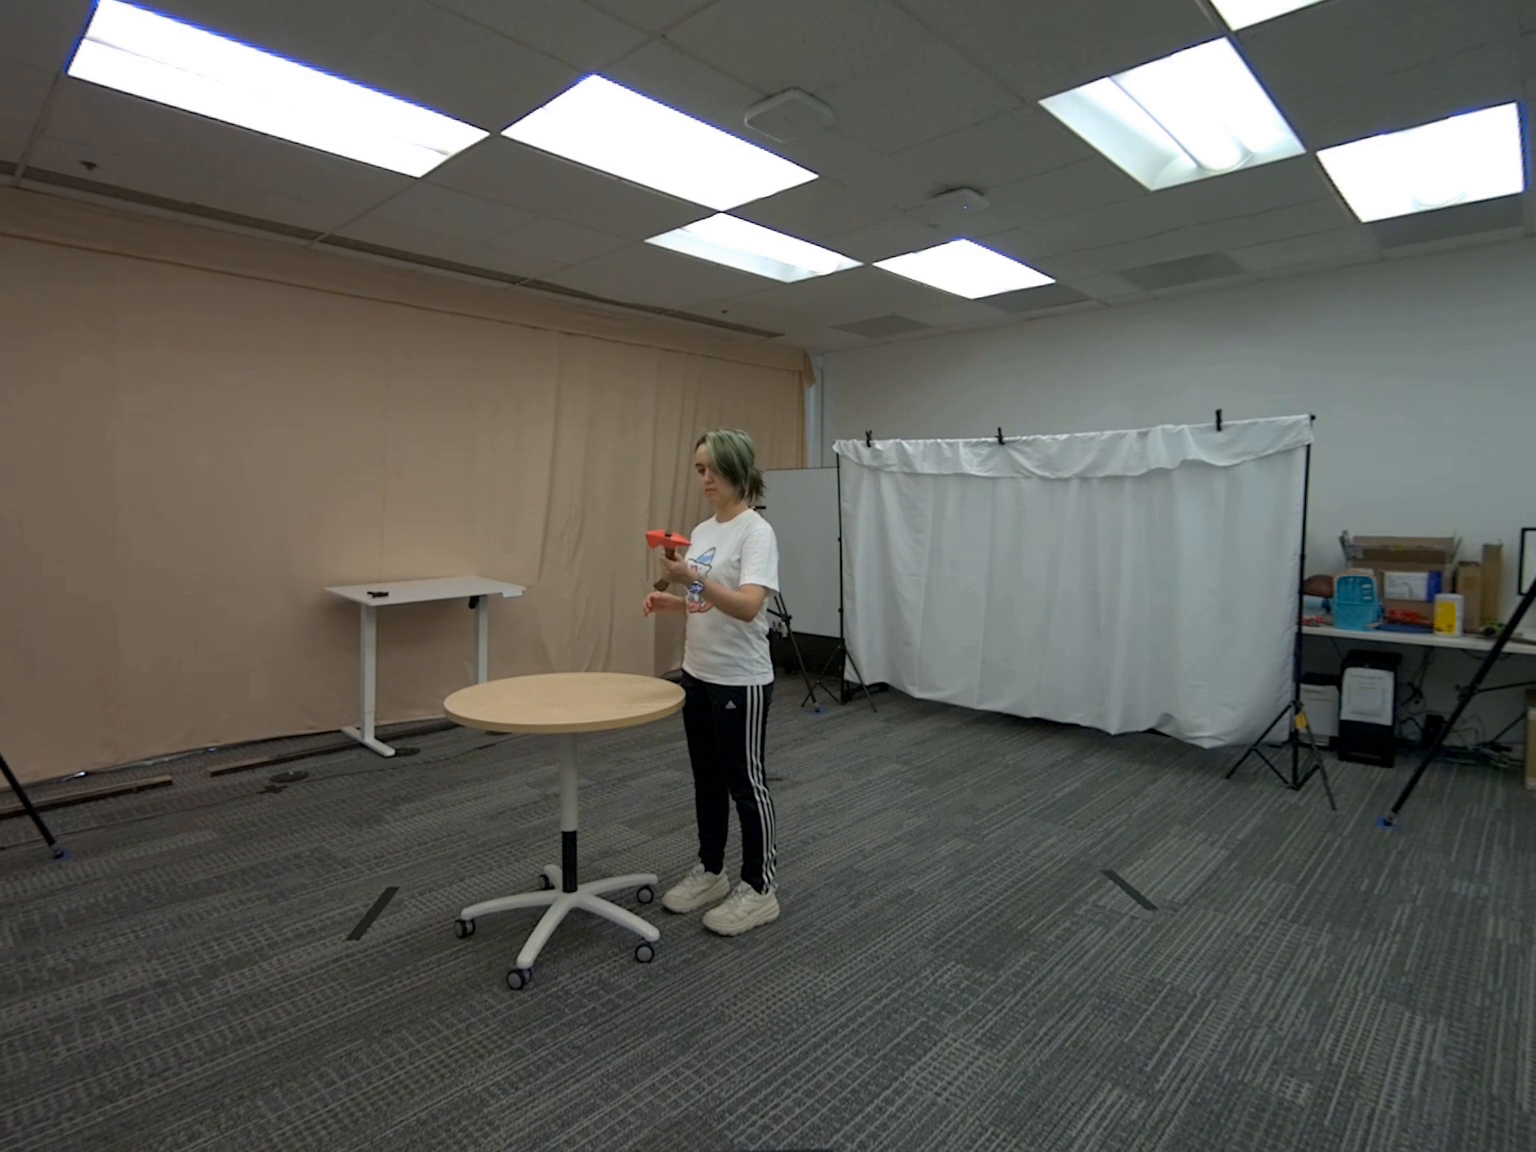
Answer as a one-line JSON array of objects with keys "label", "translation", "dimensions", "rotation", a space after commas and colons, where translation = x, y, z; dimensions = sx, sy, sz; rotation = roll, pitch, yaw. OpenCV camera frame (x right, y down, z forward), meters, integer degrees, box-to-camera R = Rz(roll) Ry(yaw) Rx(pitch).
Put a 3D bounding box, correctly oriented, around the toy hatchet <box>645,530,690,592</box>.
[{"label": "toy hatchet", "translation": [-0.307, -0.051, 2.462], "dimensions": [0.130, 0.030, 0.270], "rotation": [24, -38, -9]}]
